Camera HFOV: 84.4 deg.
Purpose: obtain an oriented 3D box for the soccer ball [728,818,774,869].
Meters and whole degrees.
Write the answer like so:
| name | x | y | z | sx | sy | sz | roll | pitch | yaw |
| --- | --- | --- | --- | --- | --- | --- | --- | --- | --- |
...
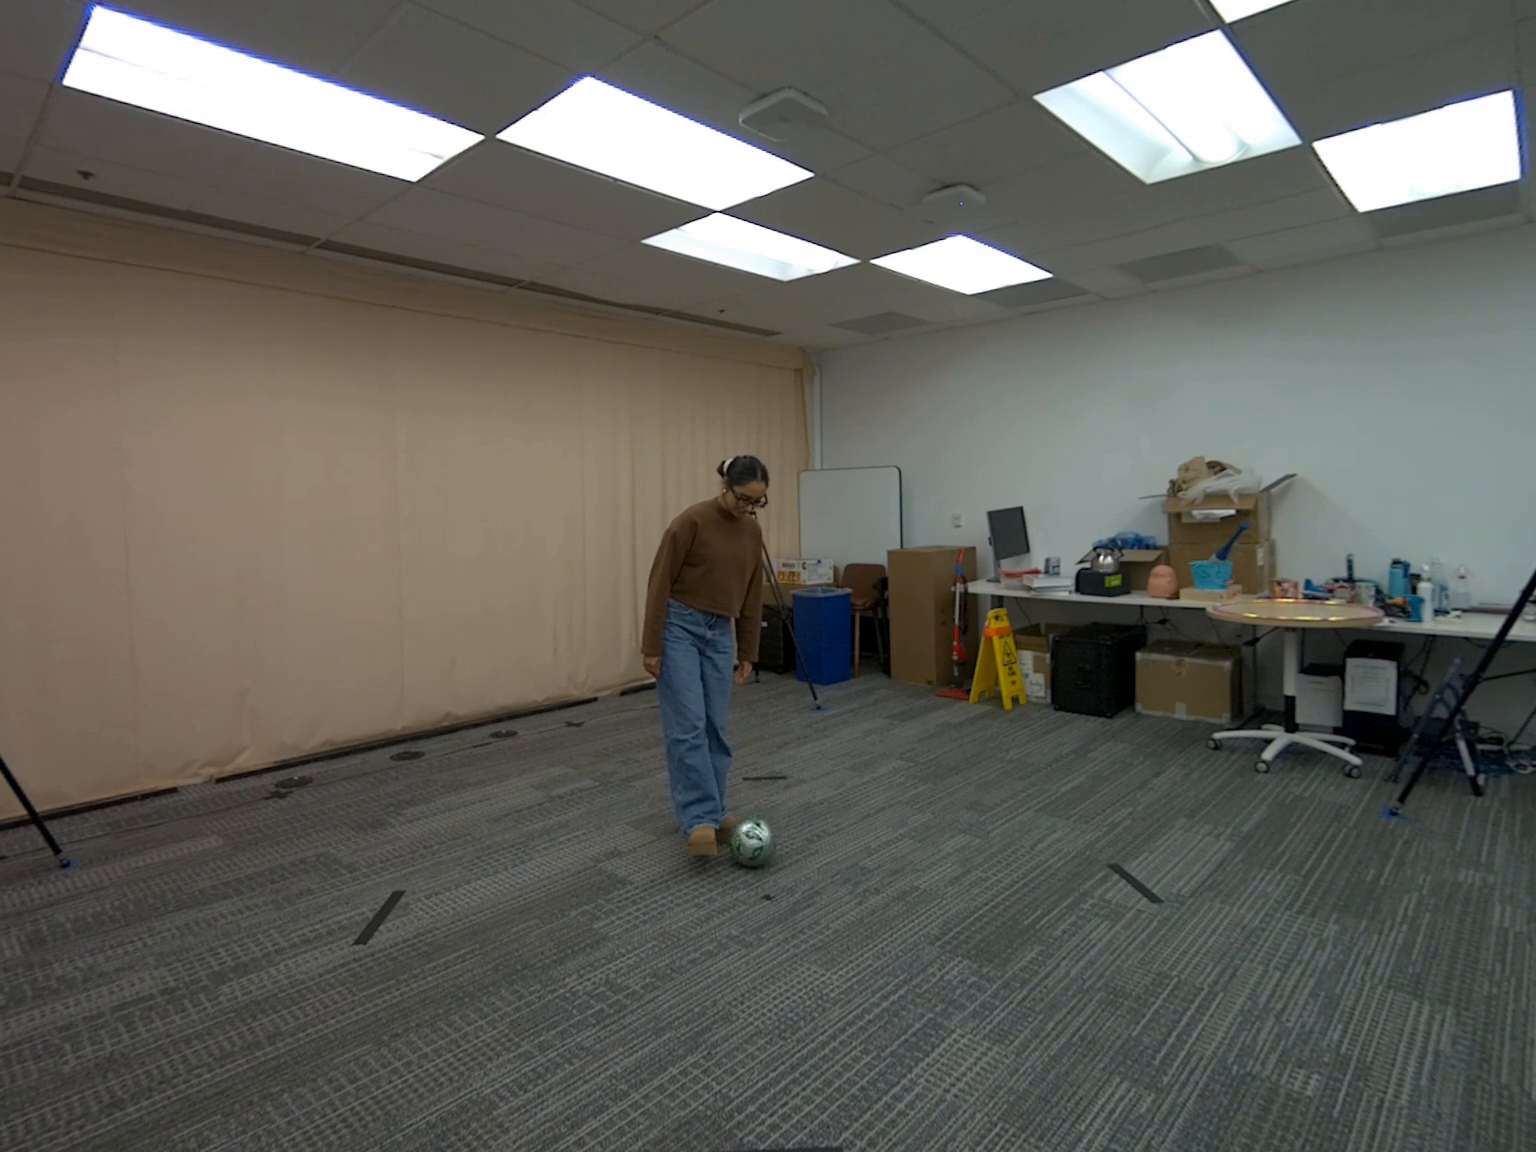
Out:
| name | x | y | z | sx | sy | sz | roll | pitch | yaw |
| --- | --- | --- | --- | --- | --- | --- | --- | --- | --- |
| soccer ball | -0.056 | 1.024 | 3.244 | 0.187 | 0.187 | 0.188 | -1 | 4 | -2 |
